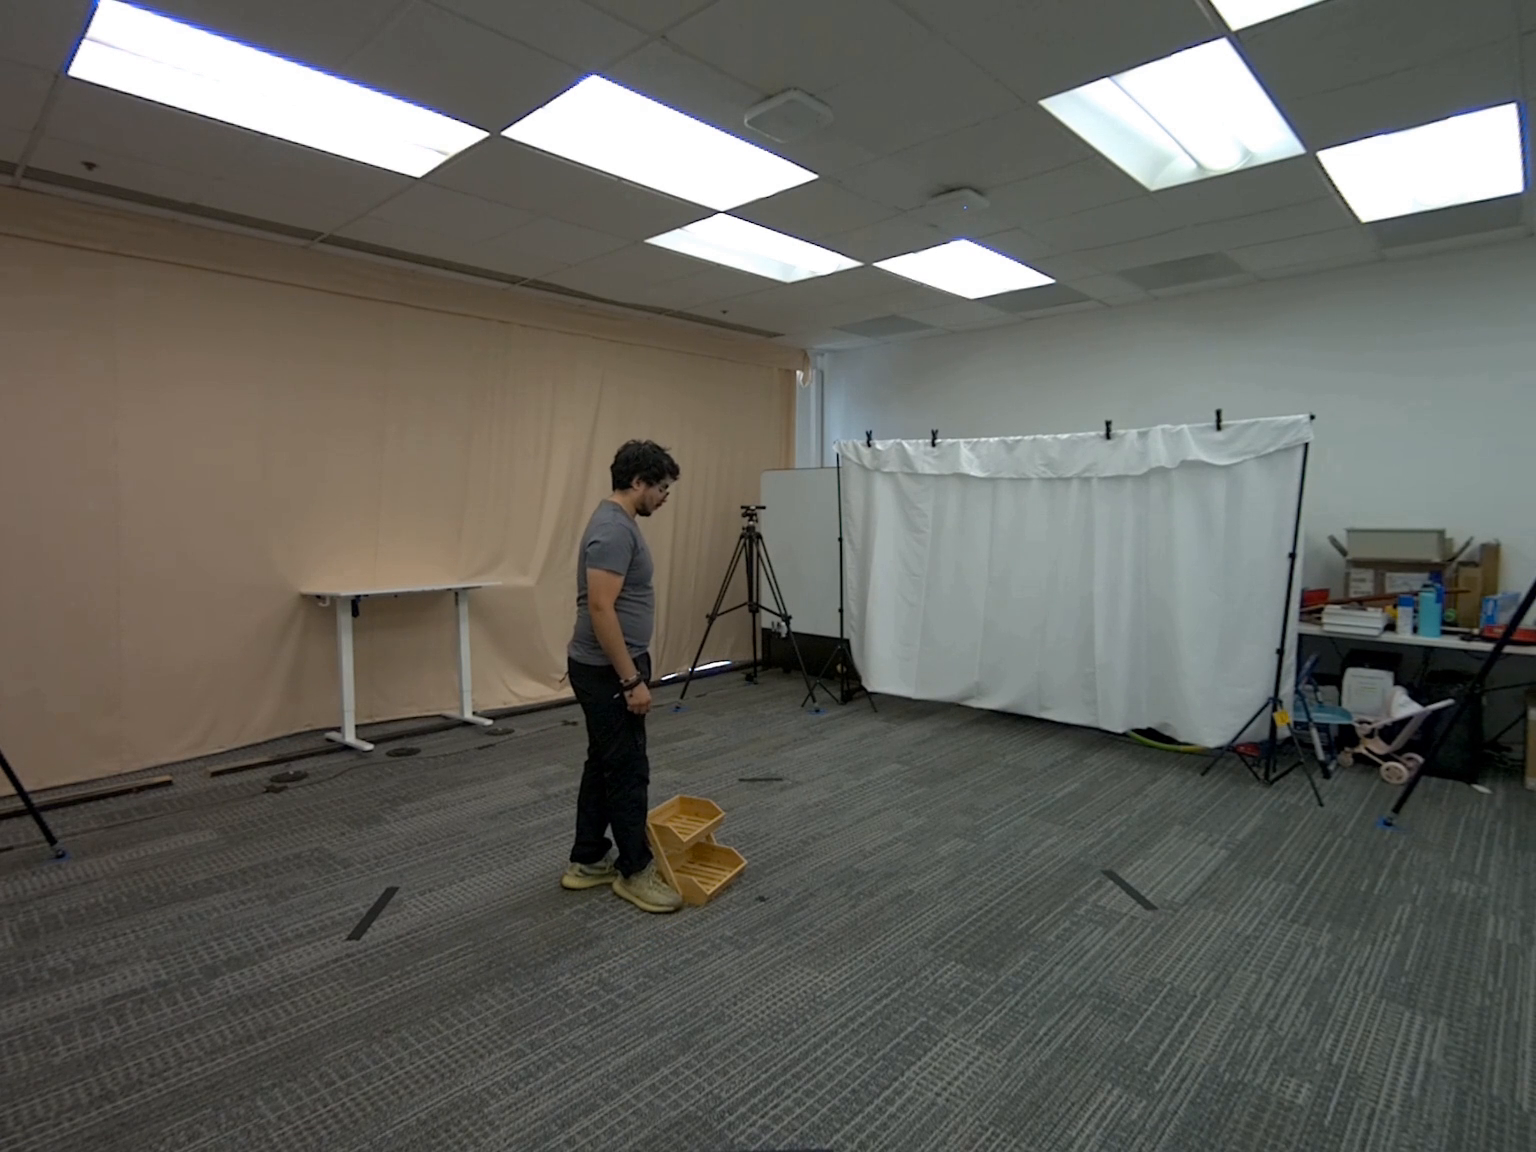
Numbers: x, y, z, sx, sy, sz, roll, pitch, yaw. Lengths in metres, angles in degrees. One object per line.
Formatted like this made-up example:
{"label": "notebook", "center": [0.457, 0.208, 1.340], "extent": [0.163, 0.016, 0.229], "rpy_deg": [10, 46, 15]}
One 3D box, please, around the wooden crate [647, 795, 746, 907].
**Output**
{"label": "wooden crate", "center": [-0.274, 1.003, 3.109], "extent": [0.310, 0.273, 0.316], "rpy_deg": [0, 4, 27]}
